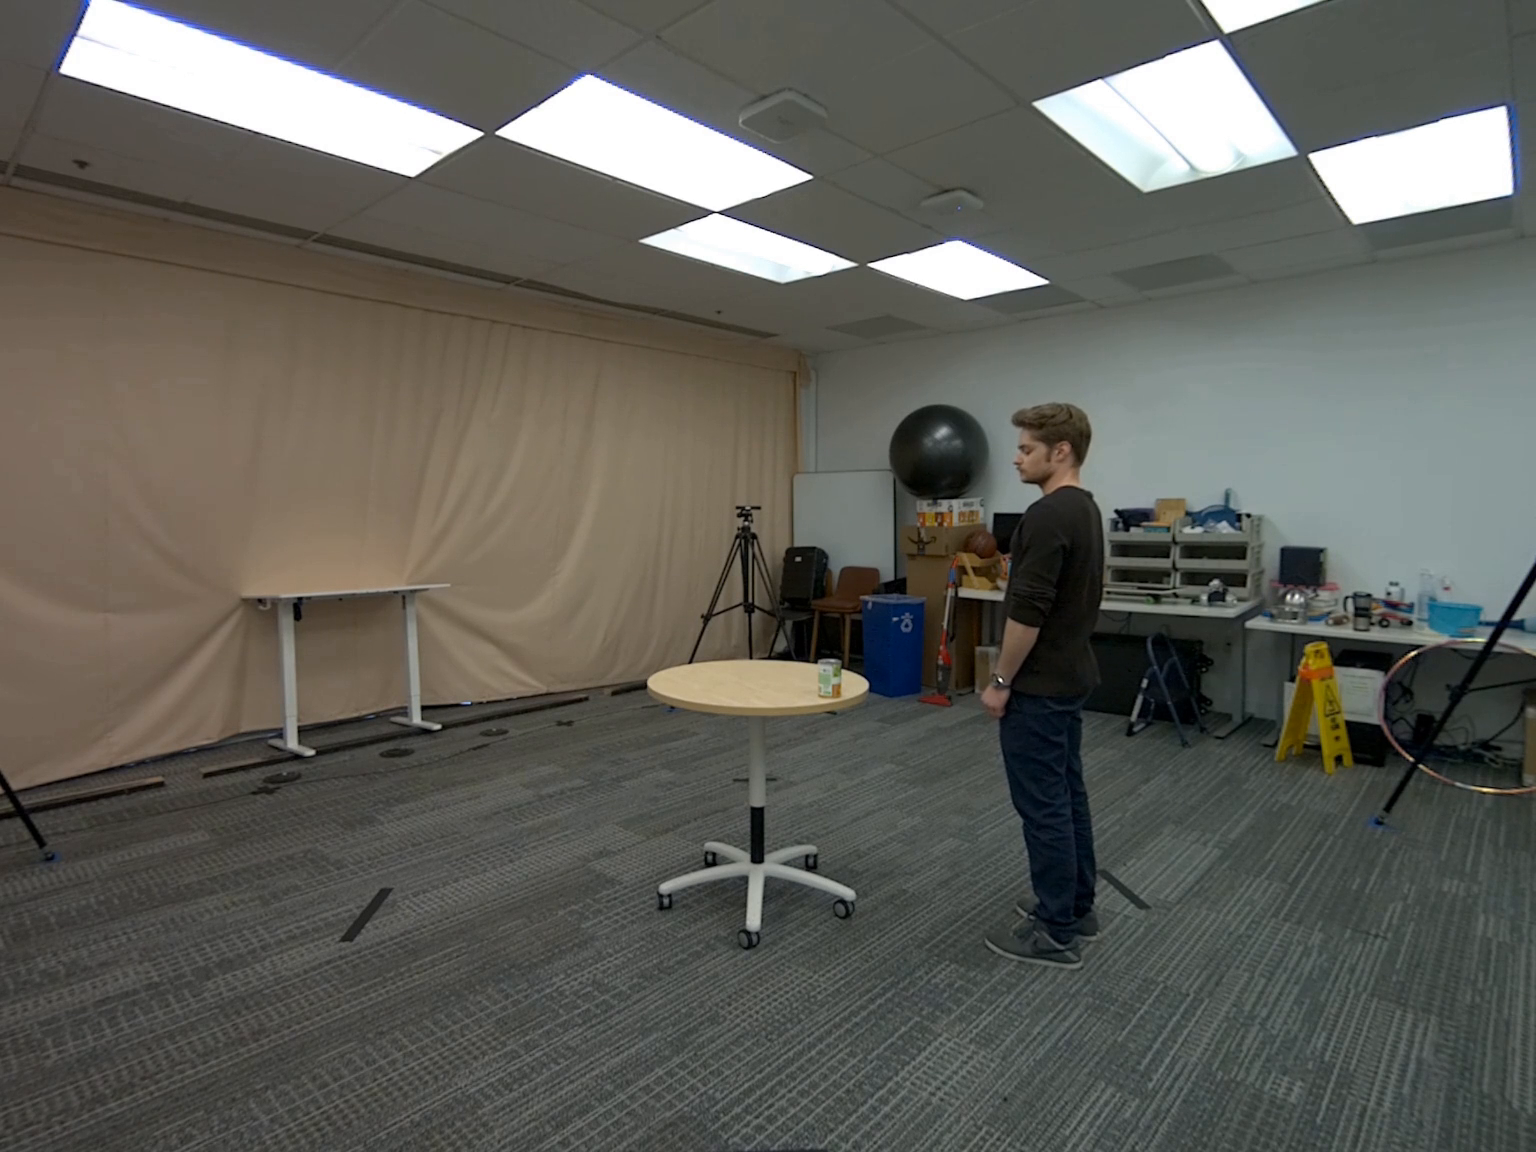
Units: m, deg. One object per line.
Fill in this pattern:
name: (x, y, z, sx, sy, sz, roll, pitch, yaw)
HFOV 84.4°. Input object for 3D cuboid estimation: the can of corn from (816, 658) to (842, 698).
can of corn: (0.207, 0.333, 2.690, 0.074, 0.111, 0.074, 1, 3, -2)
